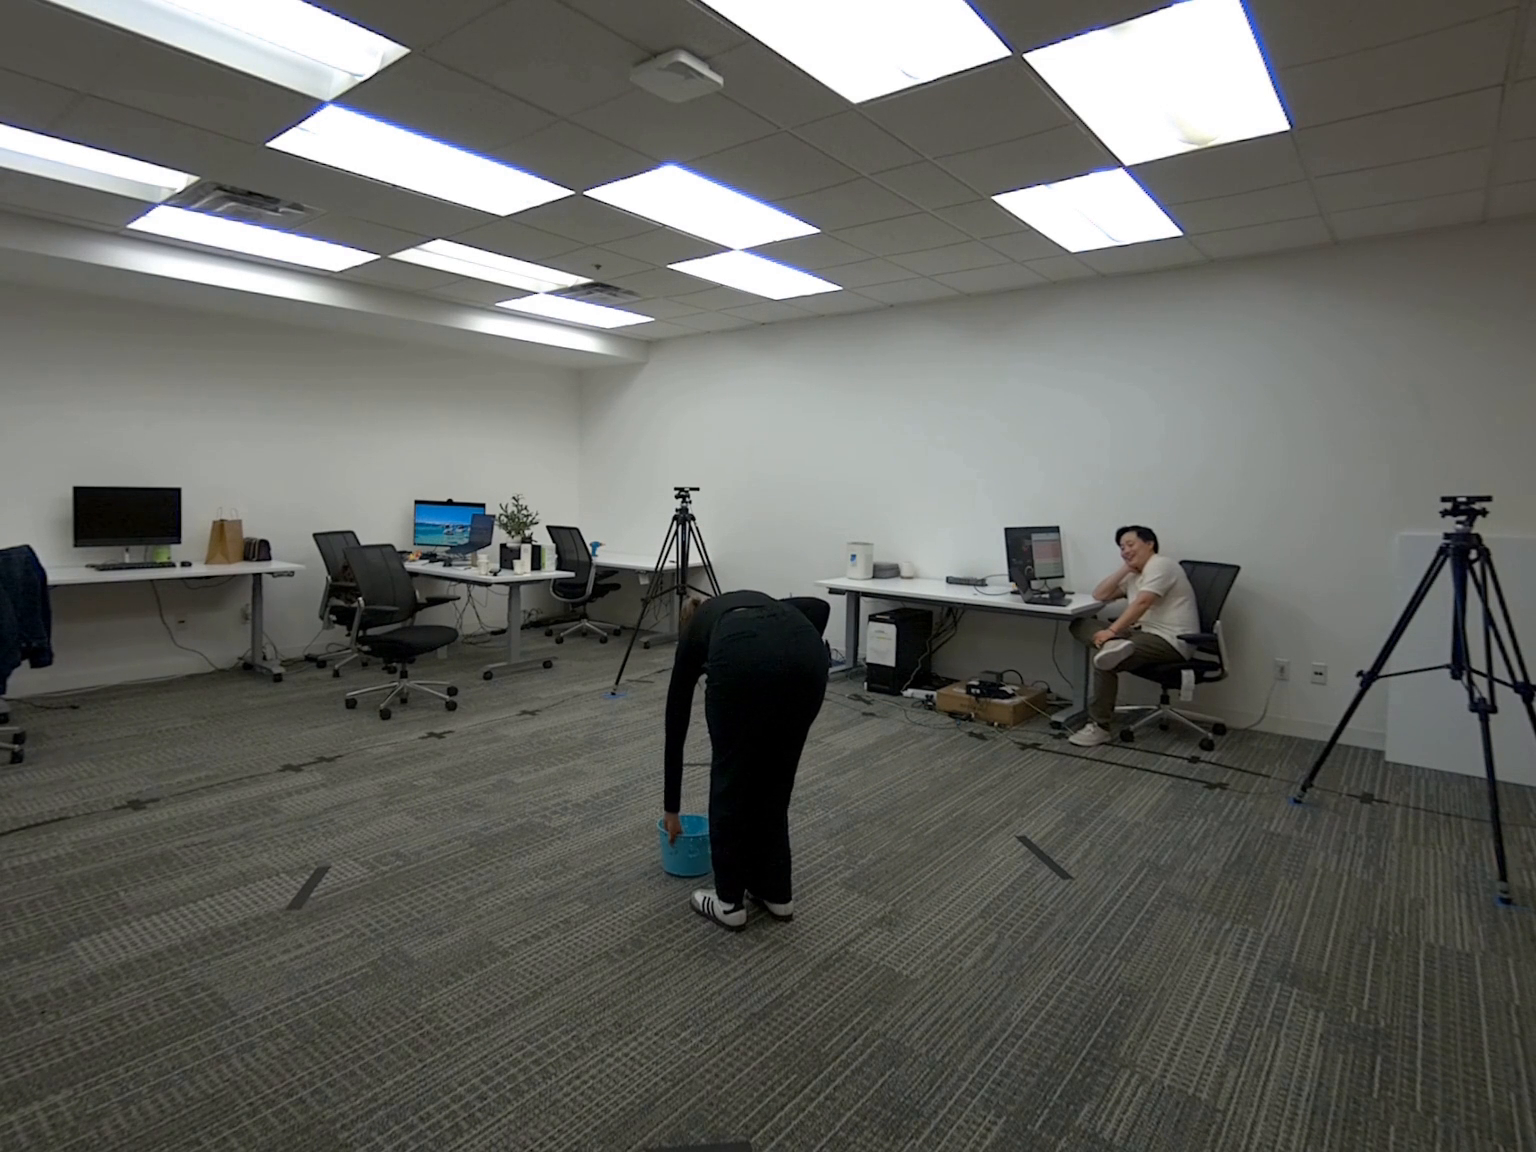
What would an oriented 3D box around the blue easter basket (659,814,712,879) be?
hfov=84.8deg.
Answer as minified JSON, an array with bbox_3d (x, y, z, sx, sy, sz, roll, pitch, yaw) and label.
[{"bbox_3d":[-0.303,0.981,3.110,0.243,0.156,0.244,1,2,-2],"label":"blue easter basket"}]
